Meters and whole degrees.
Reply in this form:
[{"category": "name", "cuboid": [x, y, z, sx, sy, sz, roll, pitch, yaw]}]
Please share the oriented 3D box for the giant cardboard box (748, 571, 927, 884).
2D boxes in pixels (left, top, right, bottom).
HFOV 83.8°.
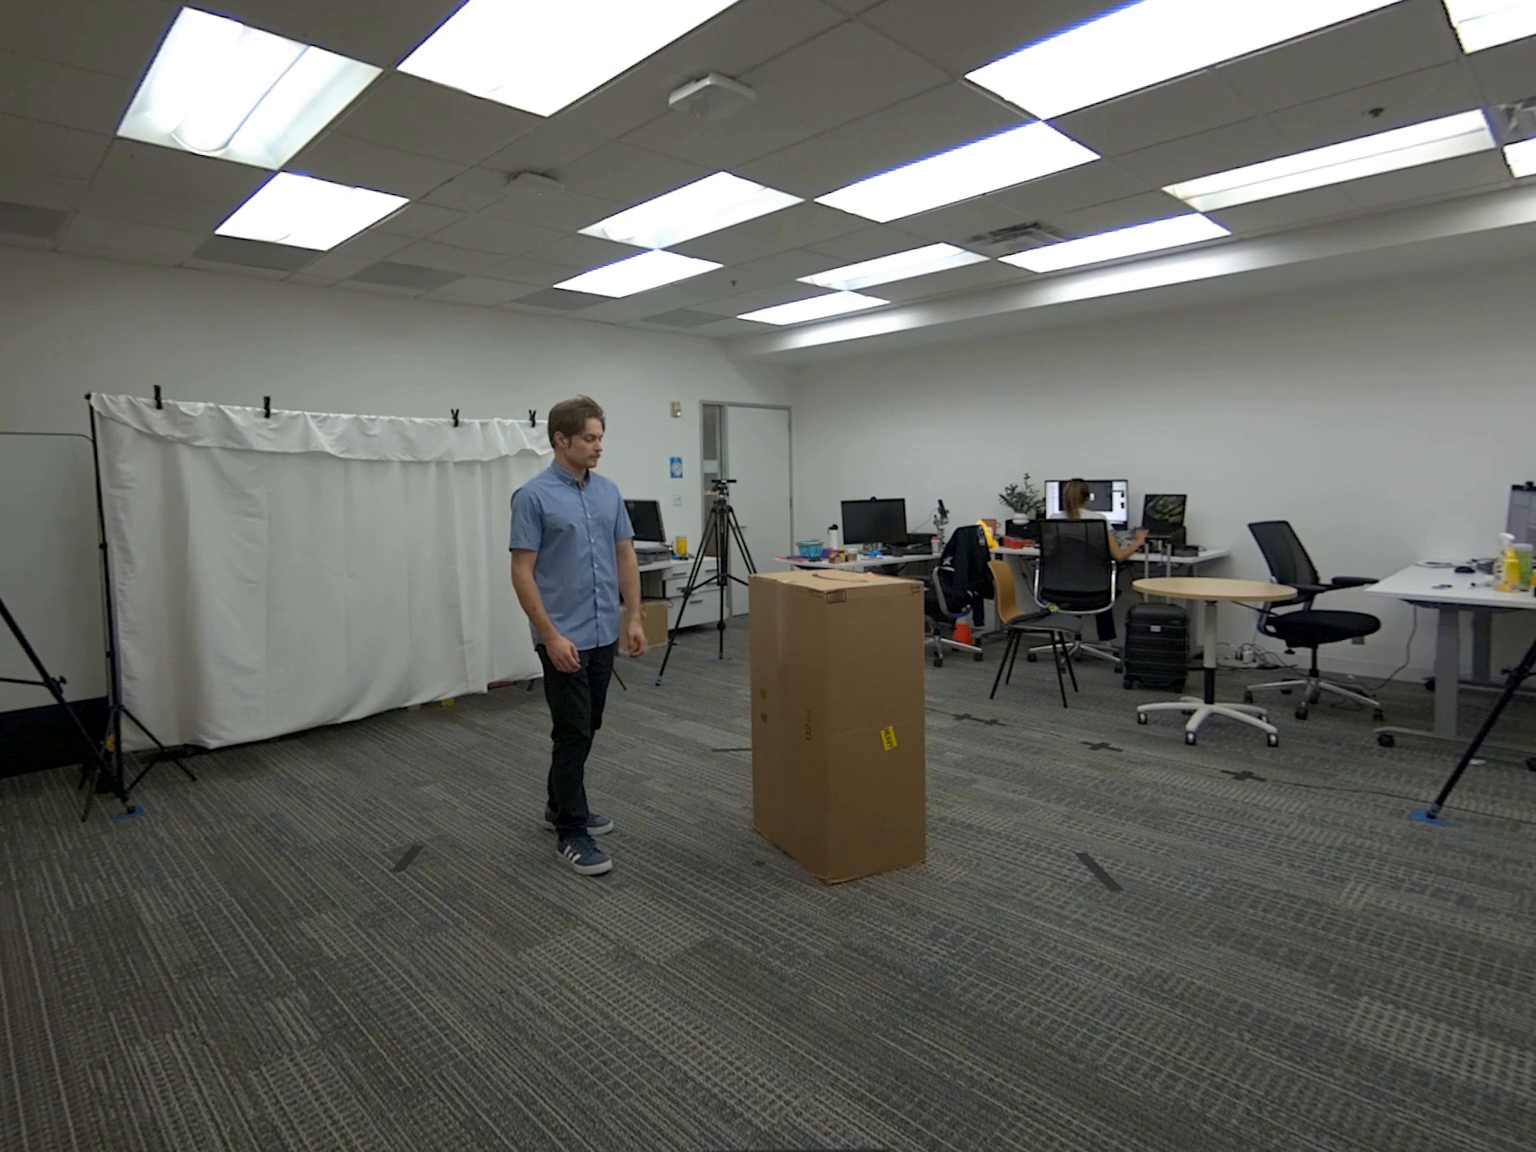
[{"category": "giant cardboard box", "cuboid": [0.248, 0.515, 3.246, 0.417, 1.022, 0.592, -3, 4, -27]}]
